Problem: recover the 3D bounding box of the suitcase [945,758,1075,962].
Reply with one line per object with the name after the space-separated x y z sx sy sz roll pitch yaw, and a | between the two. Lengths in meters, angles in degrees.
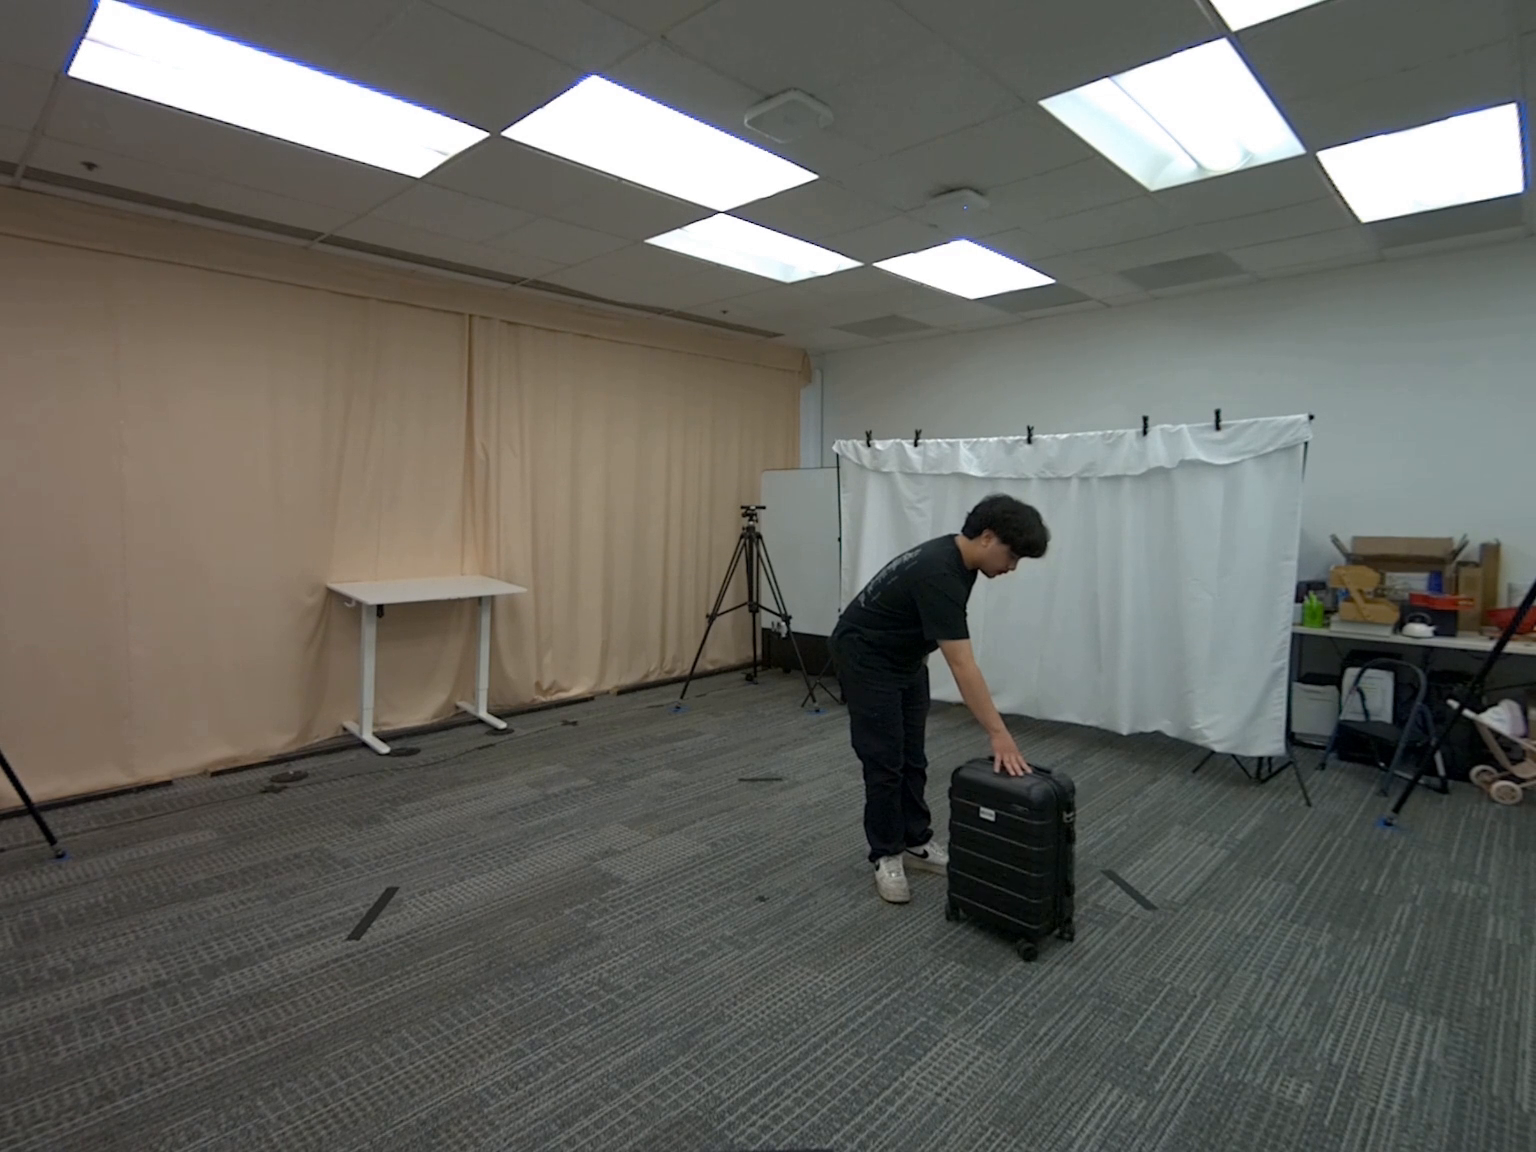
0.810 0.887 2.743 0.241 0.548 0.388 -3 4 -40 | suitcase
